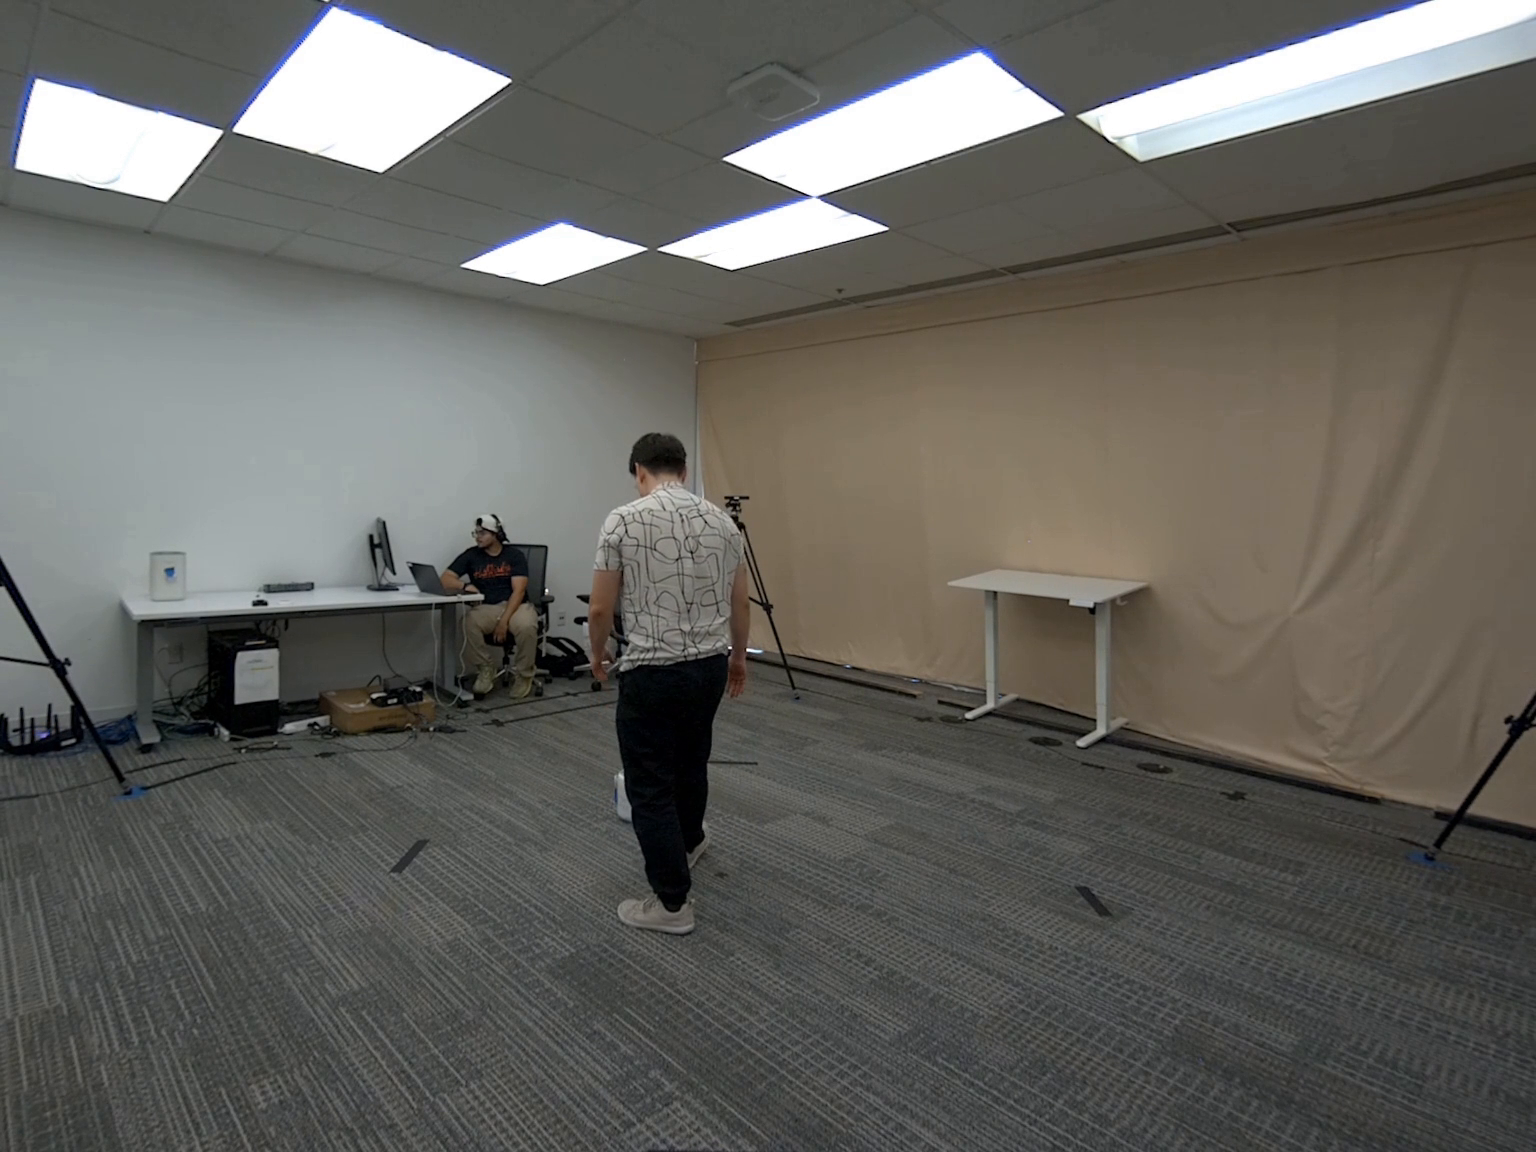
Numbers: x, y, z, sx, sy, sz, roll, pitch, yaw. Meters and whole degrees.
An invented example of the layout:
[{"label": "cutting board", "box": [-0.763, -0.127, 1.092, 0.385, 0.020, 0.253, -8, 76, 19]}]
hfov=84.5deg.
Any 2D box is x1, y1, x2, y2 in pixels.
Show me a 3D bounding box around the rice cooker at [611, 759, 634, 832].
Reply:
[{"label": "rice cooker", "box": [-0.542, 0.927, 3.647, 0.214, 0.232, 0.225, -2, 5, -22]}]
